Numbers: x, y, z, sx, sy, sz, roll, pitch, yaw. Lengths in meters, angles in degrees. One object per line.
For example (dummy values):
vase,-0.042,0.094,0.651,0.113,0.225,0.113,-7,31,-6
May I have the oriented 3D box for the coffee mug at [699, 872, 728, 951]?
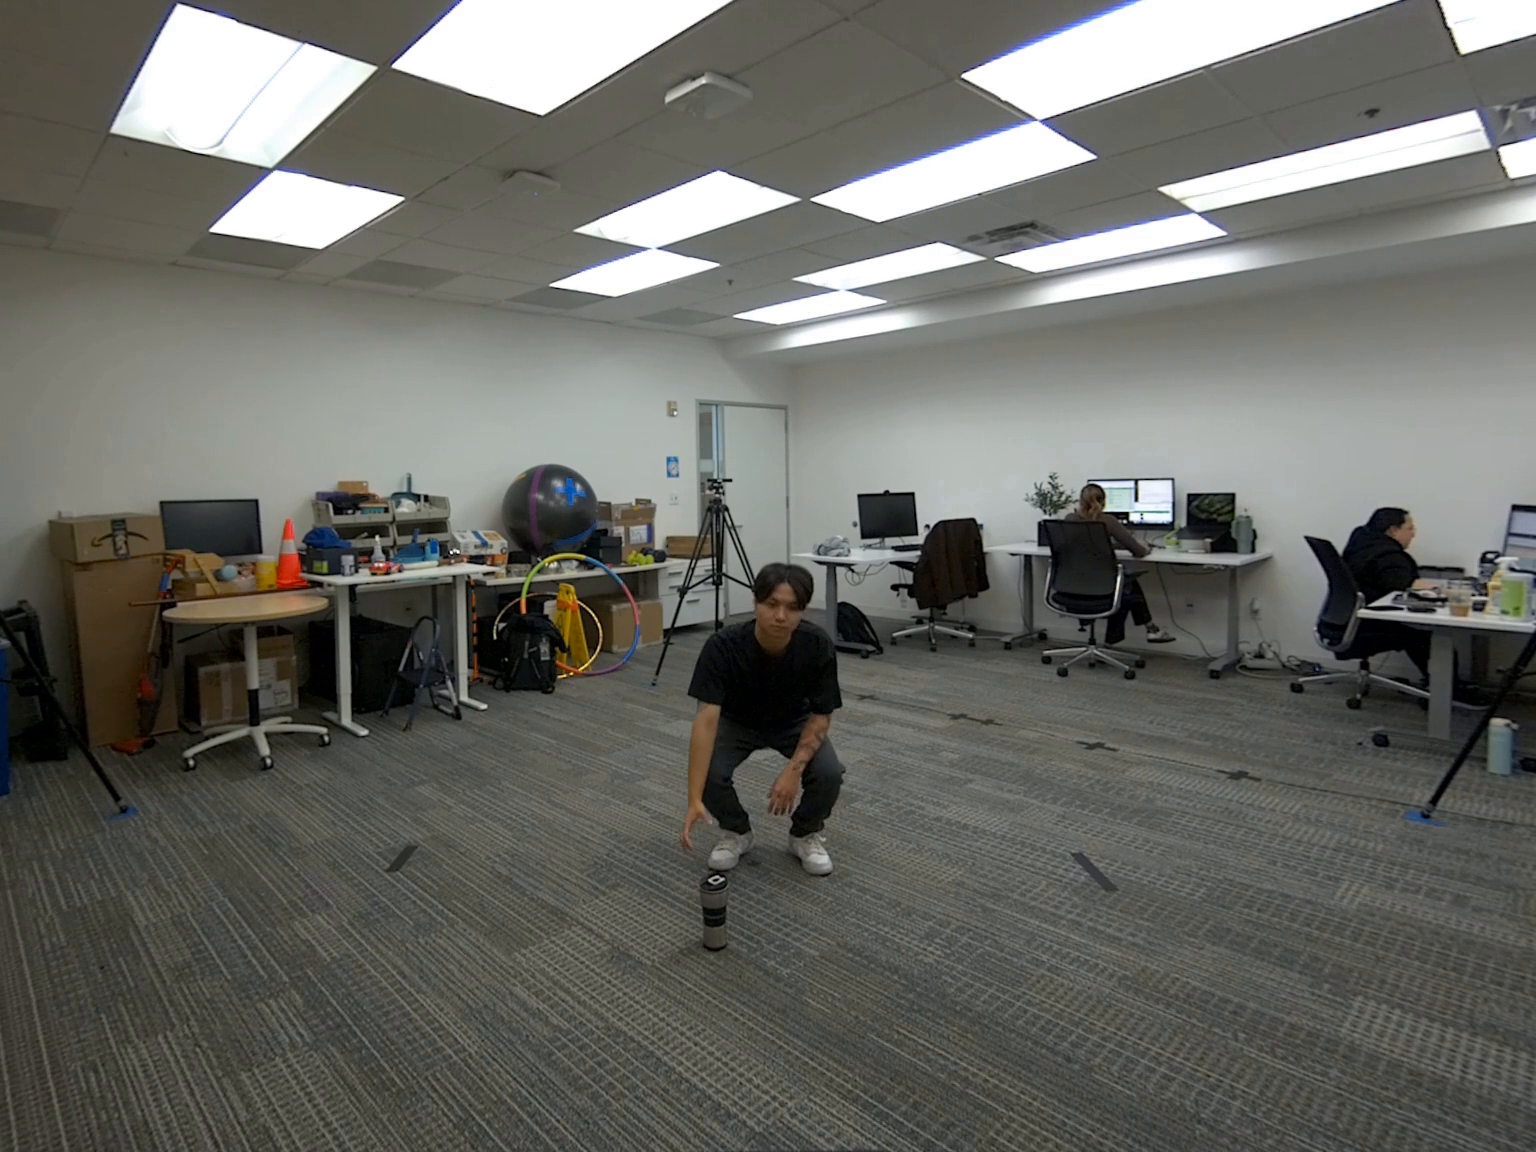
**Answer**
coffee mug,-0.146,1.015,2.575,0.090,0.202,0.119,-2,6,43
